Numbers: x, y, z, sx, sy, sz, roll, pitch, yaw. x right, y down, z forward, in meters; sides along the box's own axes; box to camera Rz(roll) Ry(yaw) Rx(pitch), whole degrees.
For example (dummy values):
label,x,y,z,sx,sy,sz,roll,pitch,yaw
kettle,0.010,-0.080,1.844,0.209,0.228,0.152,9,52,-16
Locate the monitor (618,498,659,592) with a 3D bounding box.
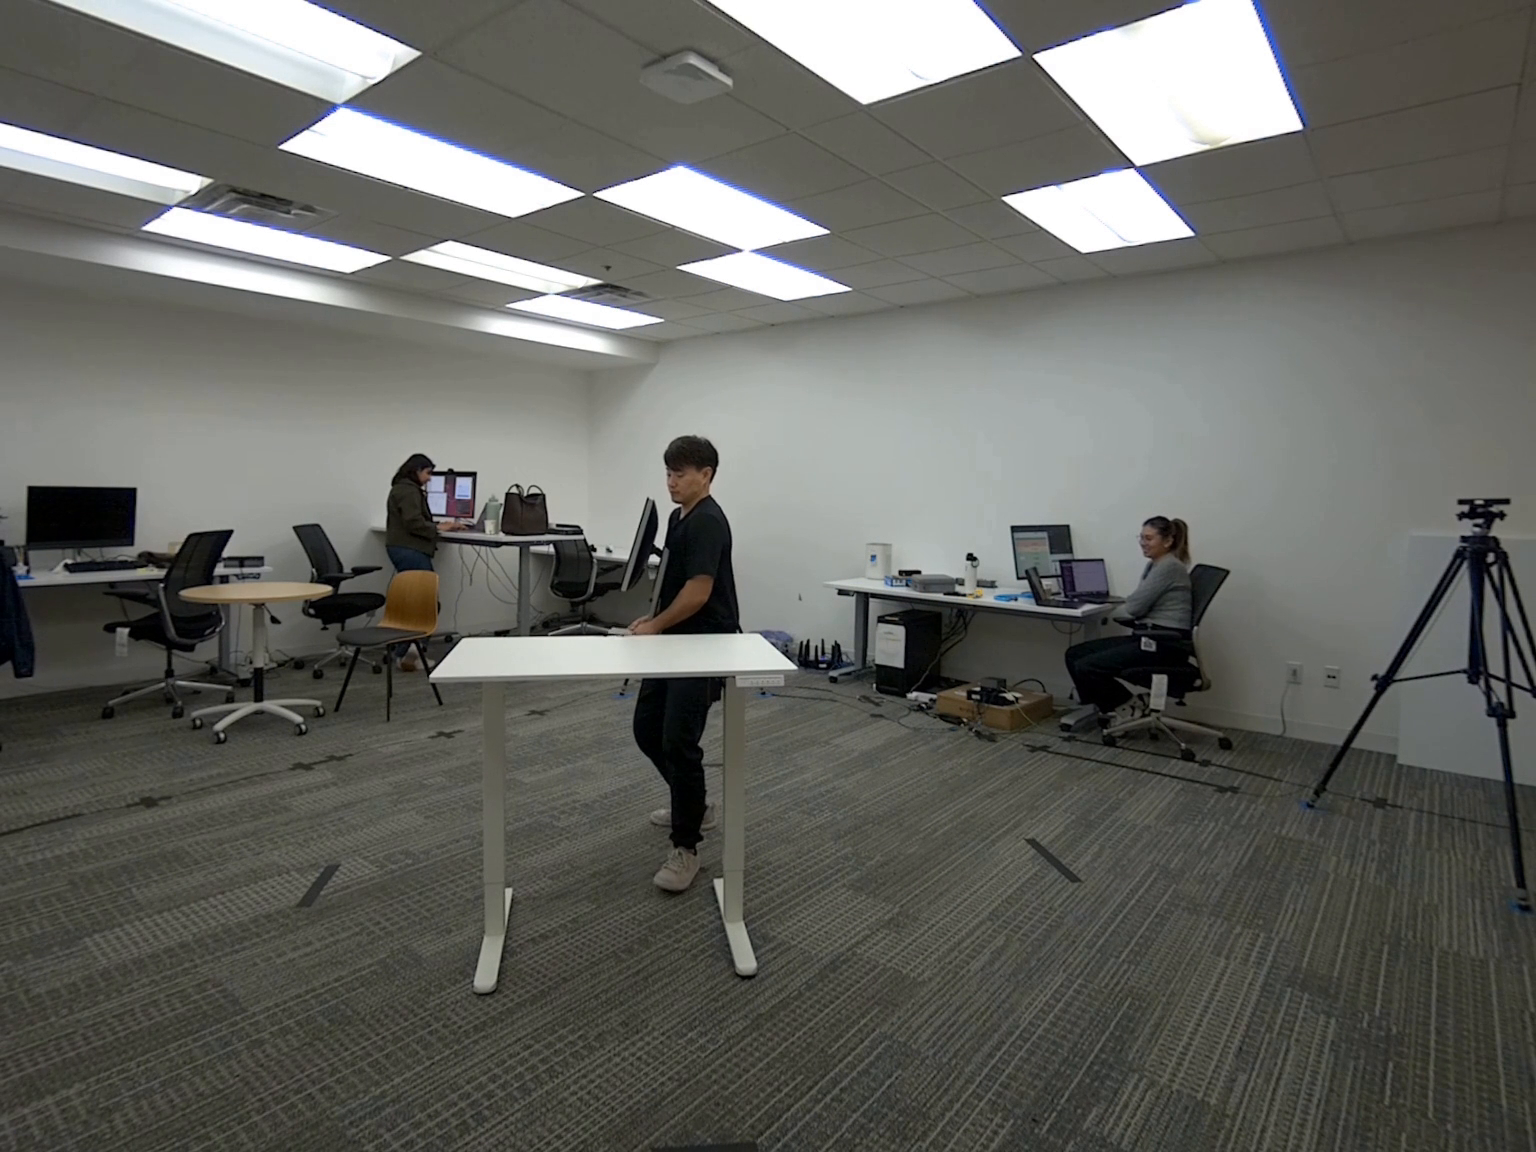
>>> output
label,x,y,z,sx,sy,sz,roll,pitch,yaw
monitor,-0.502,-0.030,3.405,0.186,0.524,0.542,5,-2,-7
